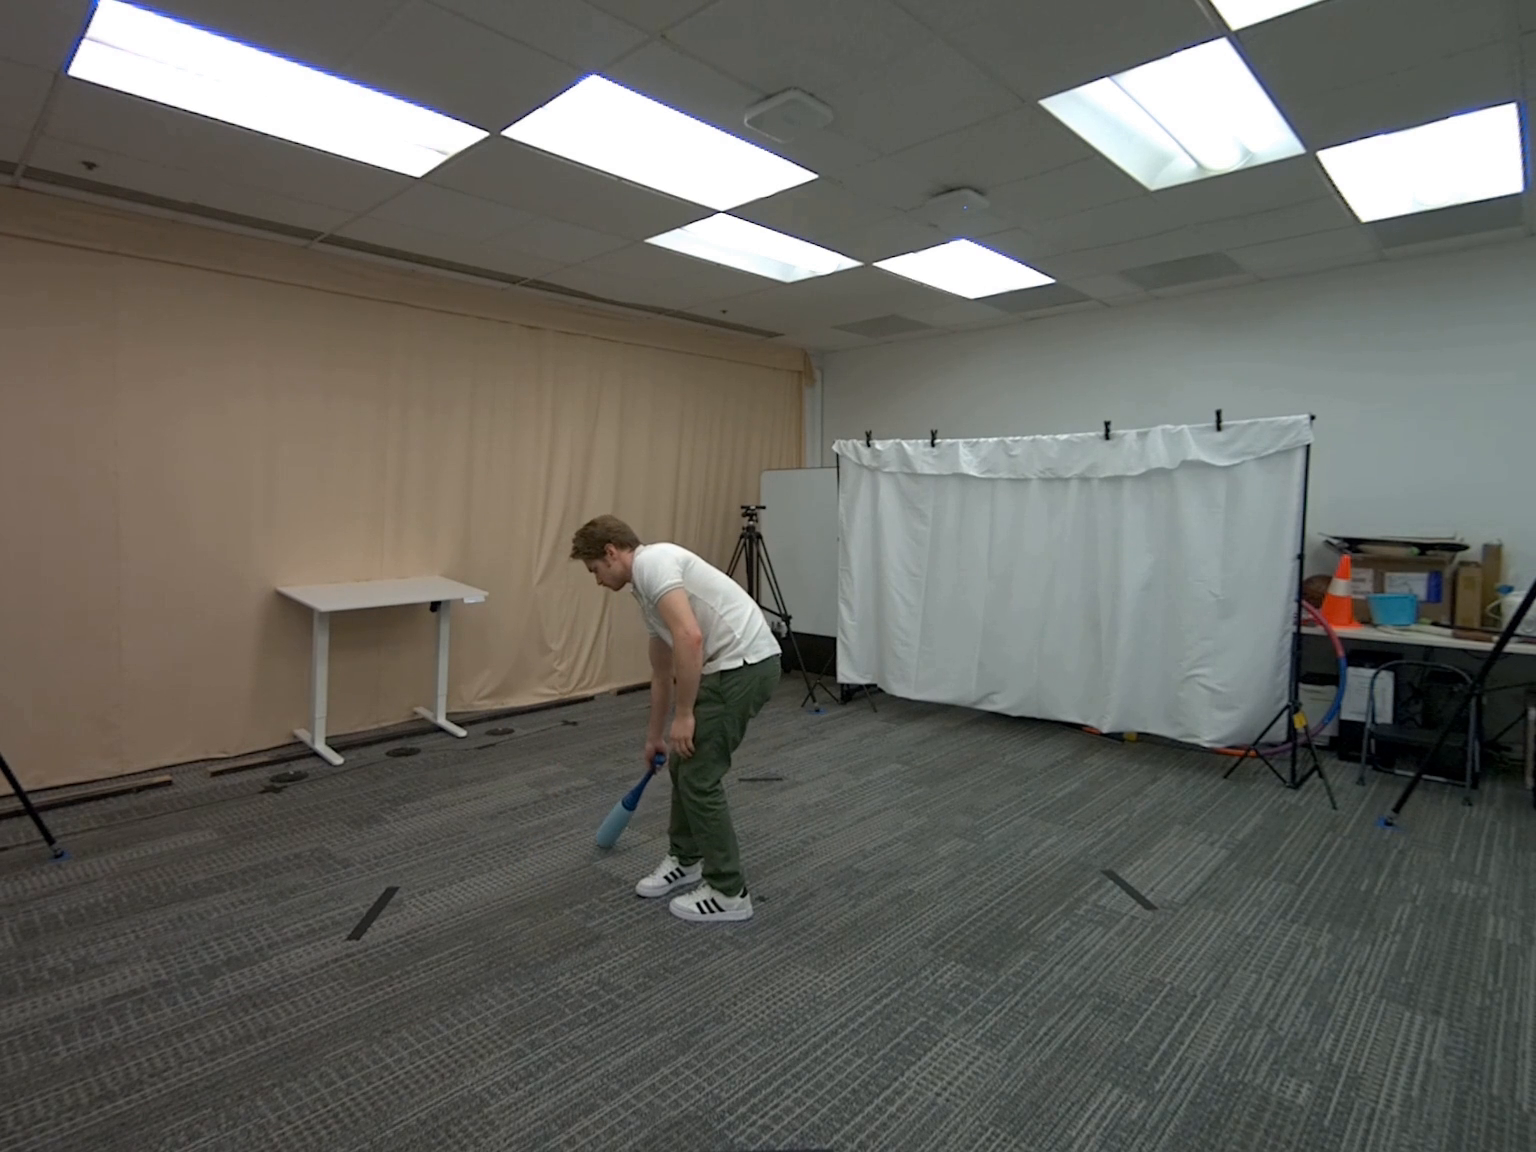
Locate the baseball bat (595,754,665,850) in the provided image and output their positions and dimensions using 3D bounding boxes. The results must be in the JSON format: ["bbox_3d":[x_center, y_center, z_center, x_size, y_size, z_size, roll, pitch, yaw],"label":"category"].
[{"bbox_3d":[-0.555,0.897,3.330,0.087,0.544,0.090,25,29,-17],"label":"baseball bat"}]
